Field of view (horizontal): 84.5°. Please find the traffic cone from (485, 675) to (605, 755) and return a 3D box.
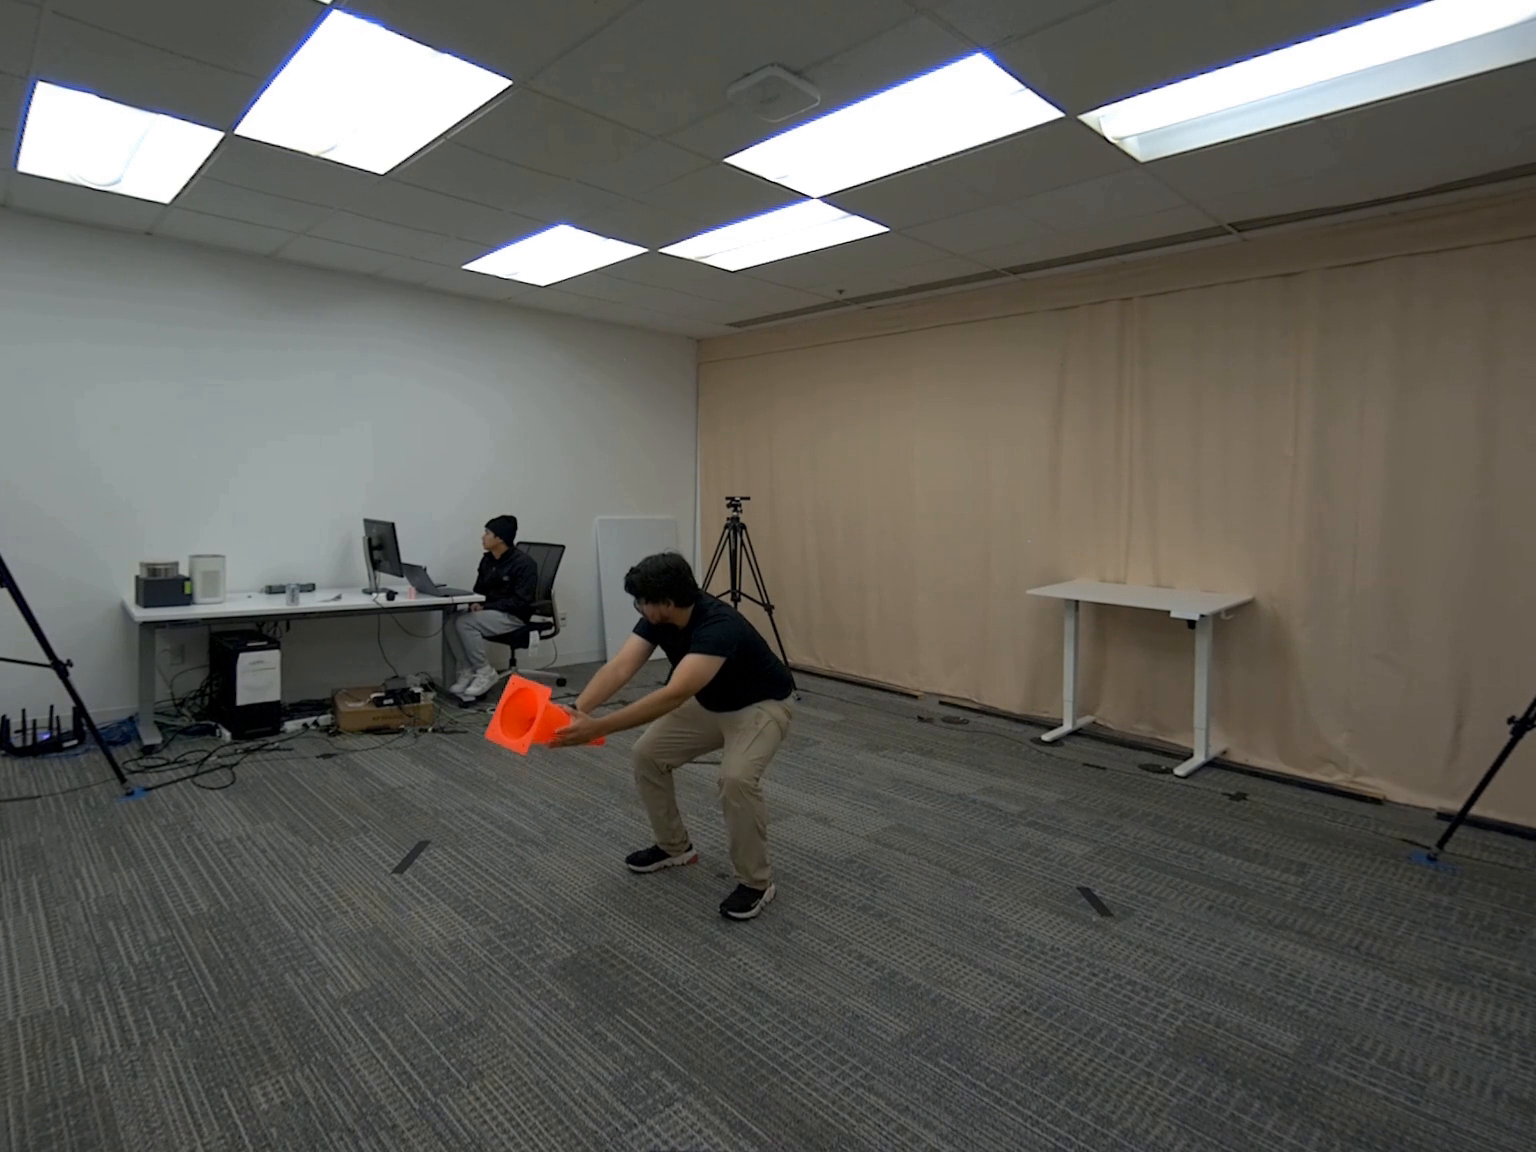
[{"bbox_3d":[-0.638,0.464,2.595,0.210,0.204,0.372,10,-15,38],"label":"traffic cone"}]
